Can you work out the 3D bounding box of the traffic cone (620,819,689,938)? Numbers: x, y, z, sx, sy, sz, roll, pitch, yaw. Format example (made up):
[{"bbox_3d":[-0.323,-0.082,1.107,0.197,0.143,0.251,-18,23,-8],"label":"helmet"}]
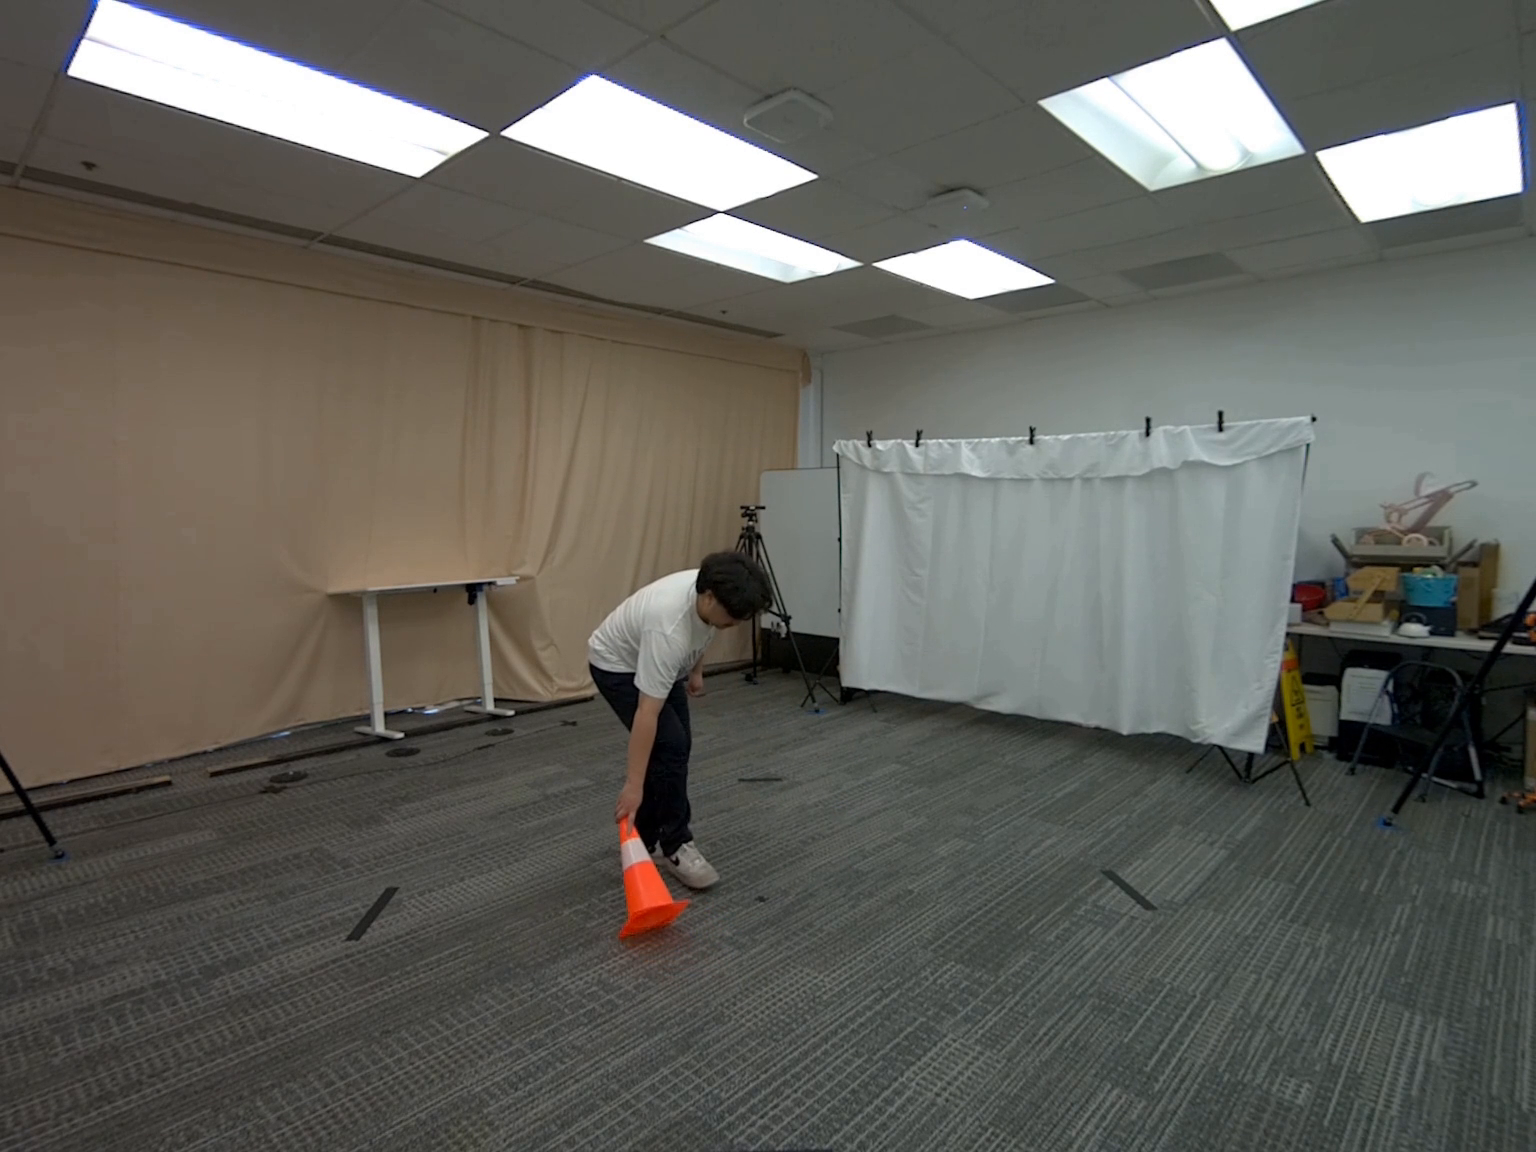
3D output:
[{"bbox_3d":[-0.435,0.954,2.821,0.198,0.395,0.204,11,-49,-36],"label":"traffic cone"}]
